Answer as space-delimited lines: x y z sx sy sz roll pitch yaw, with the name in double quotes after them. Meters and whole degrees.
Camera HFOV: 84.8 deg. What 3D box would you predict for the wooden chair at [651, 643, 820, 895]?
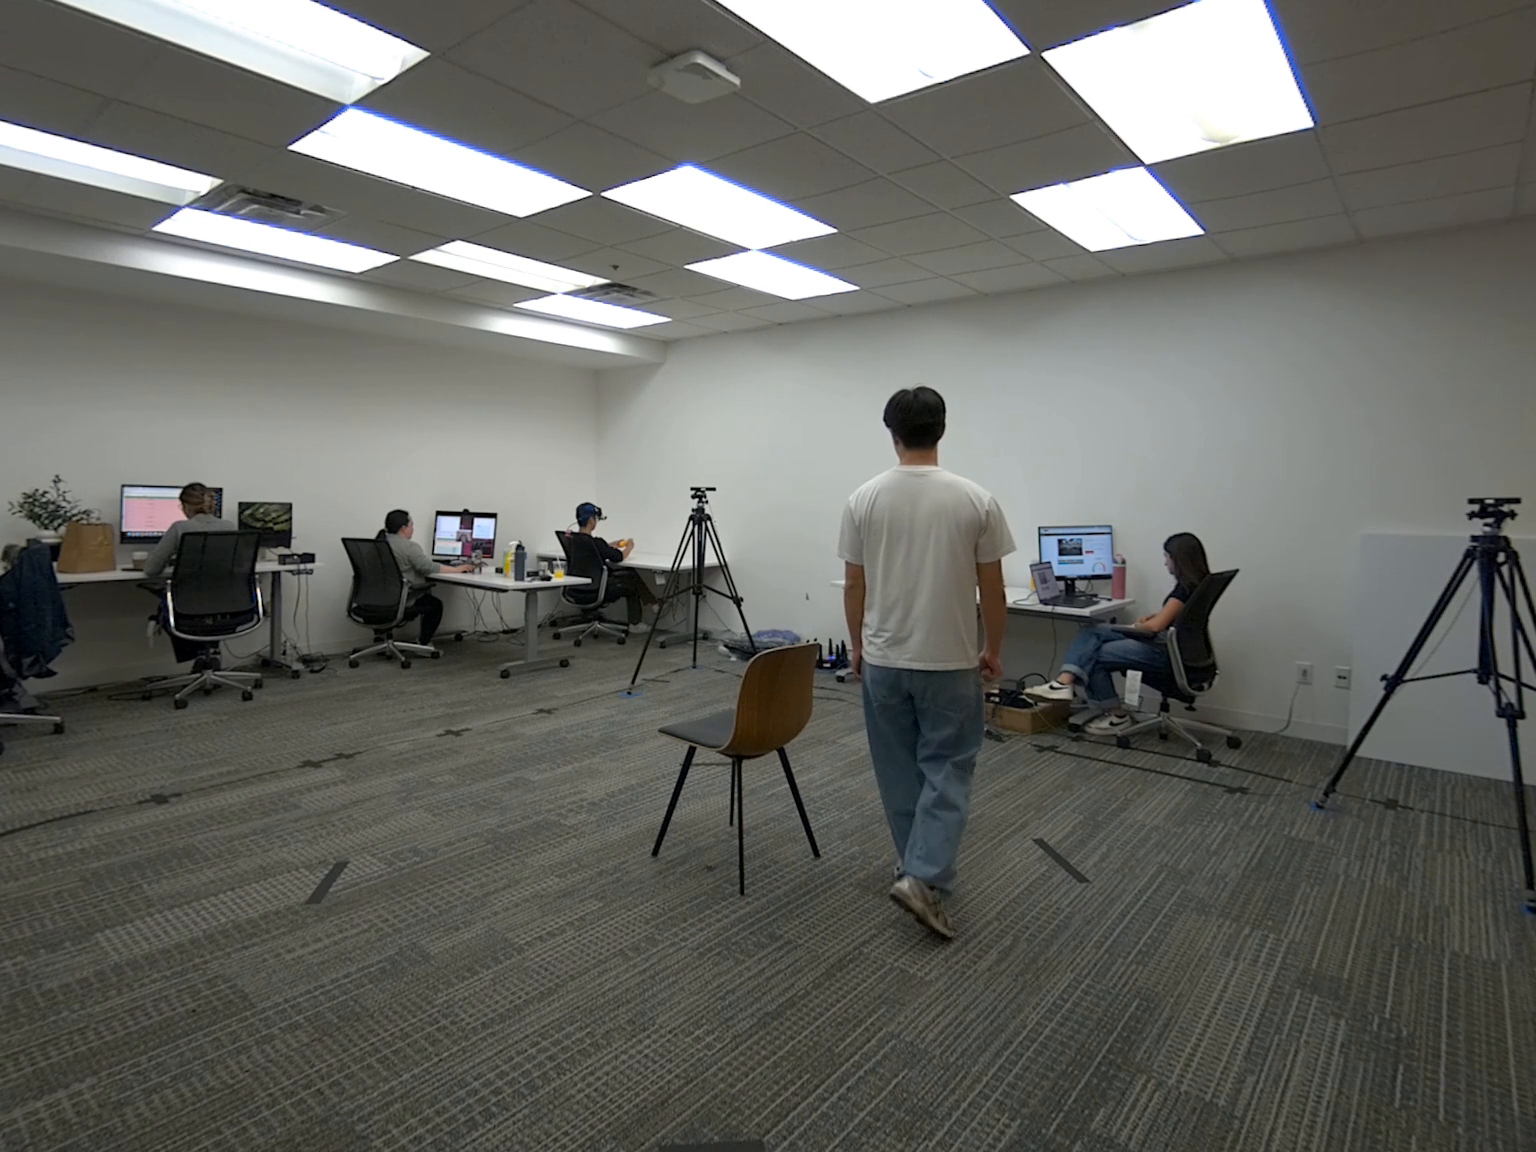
-0.125 0.633 3.195 0.542 0.873 0.463 10 8 40 "wooden chair"
